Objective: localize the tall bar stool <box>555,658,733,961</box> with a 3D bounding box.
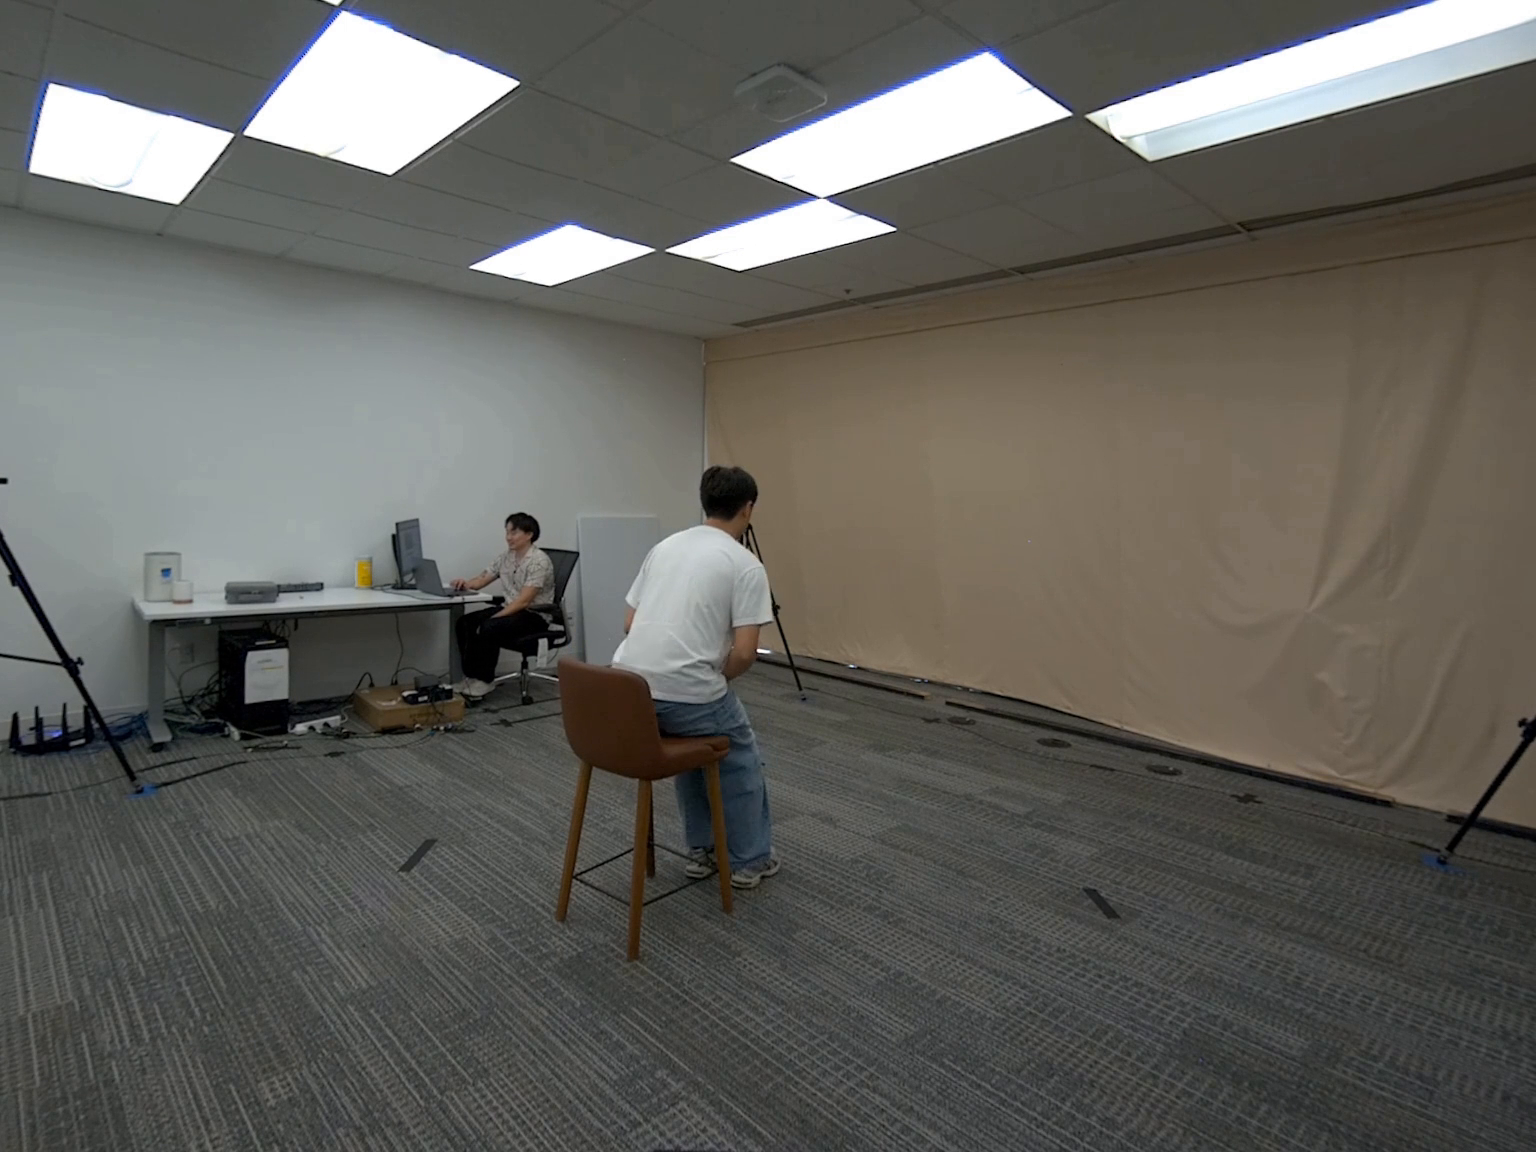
[{"bbox_3d":[-0.420,0.695,2.770,0.468,0.887,0.457,4,6,39],"label":"tall bar stool"}]
